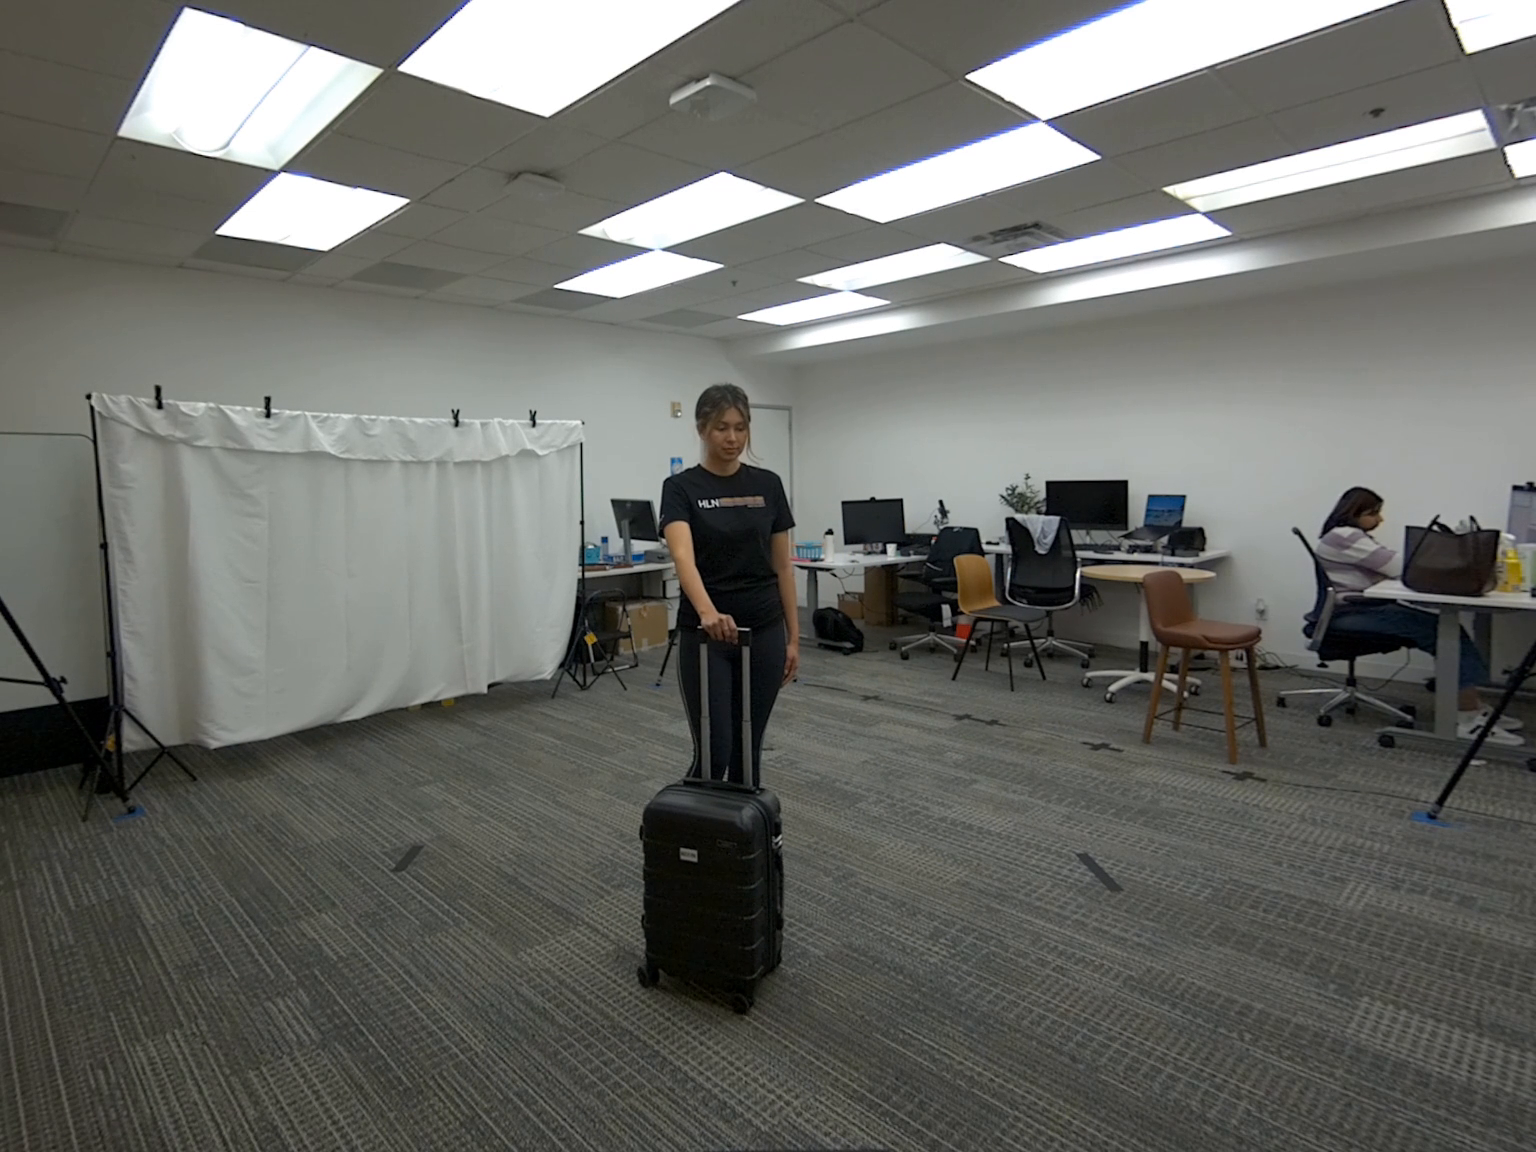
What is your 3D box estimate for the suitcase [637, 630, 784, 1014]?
[{"bbox_3d":[-0.156,0.660,2.358,0.392,0.972,0.253,1,7,23],"label":"suitcase"}]
